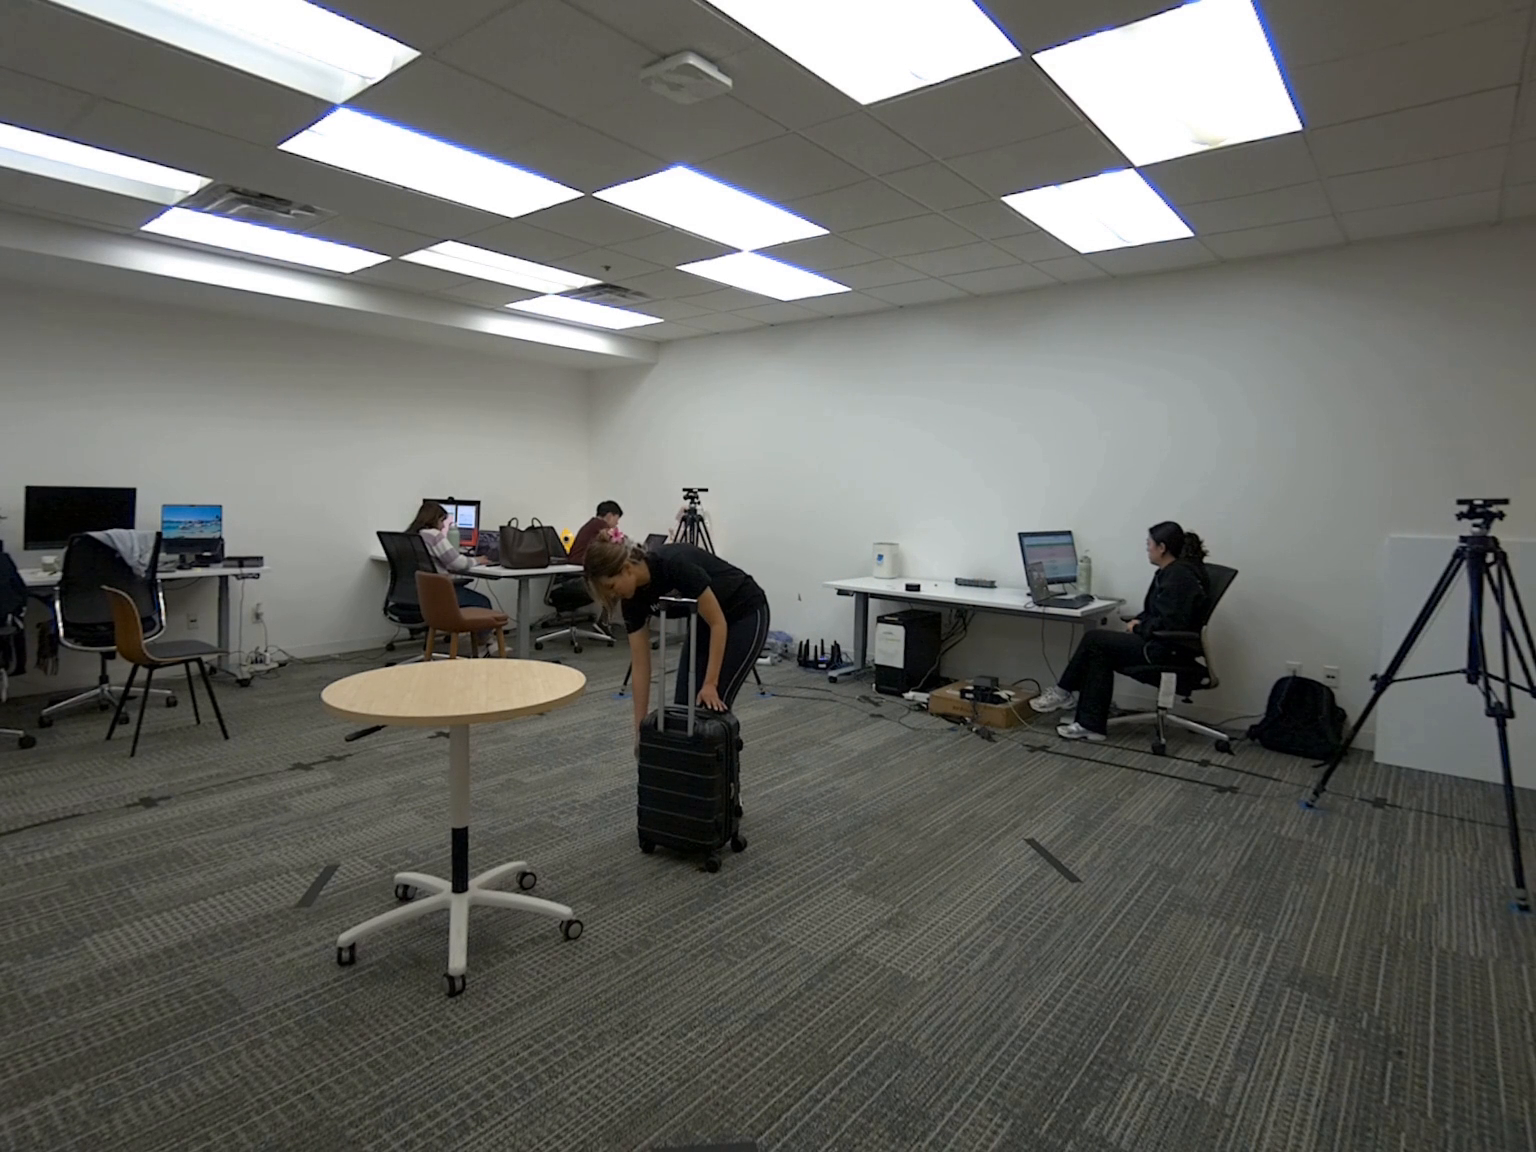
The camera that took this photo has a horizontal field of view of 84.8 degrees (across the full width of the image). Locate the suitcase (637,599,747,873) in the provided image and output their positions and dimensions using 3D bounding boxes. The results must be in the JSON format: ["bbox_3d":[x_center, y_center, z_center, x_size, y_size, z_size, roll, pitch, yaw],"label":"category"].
[{"bbox_3d":[-0.315,0.575,3.245,0.394,0.976,0.251,2,3,28],"label":"suitcase"}]
